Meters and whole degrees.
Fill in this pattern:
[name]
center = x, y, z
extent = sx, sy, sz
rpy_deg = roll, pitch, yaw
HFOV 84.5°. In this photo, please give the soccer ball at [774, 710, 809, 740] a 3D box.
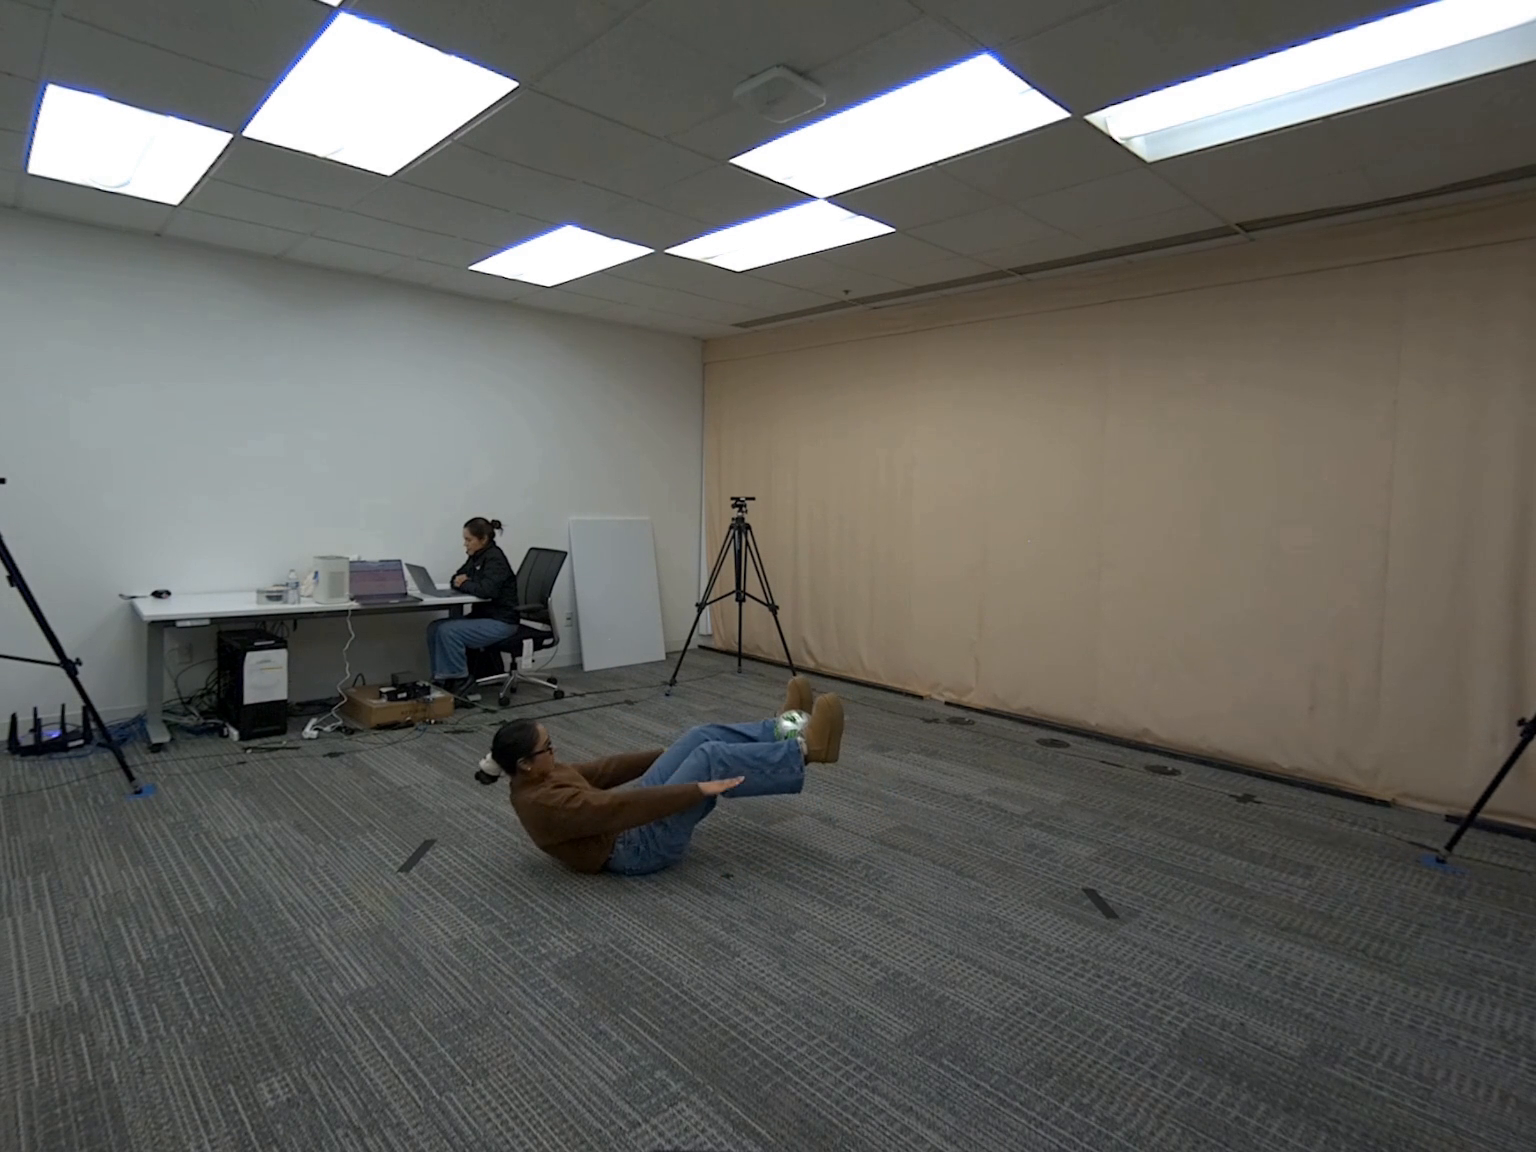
[soccer ball]
center = 0.091, 0.645, 3.406
extent = 0.187, 0.187, 0.188
rpy_deg = 1, 4, -1
